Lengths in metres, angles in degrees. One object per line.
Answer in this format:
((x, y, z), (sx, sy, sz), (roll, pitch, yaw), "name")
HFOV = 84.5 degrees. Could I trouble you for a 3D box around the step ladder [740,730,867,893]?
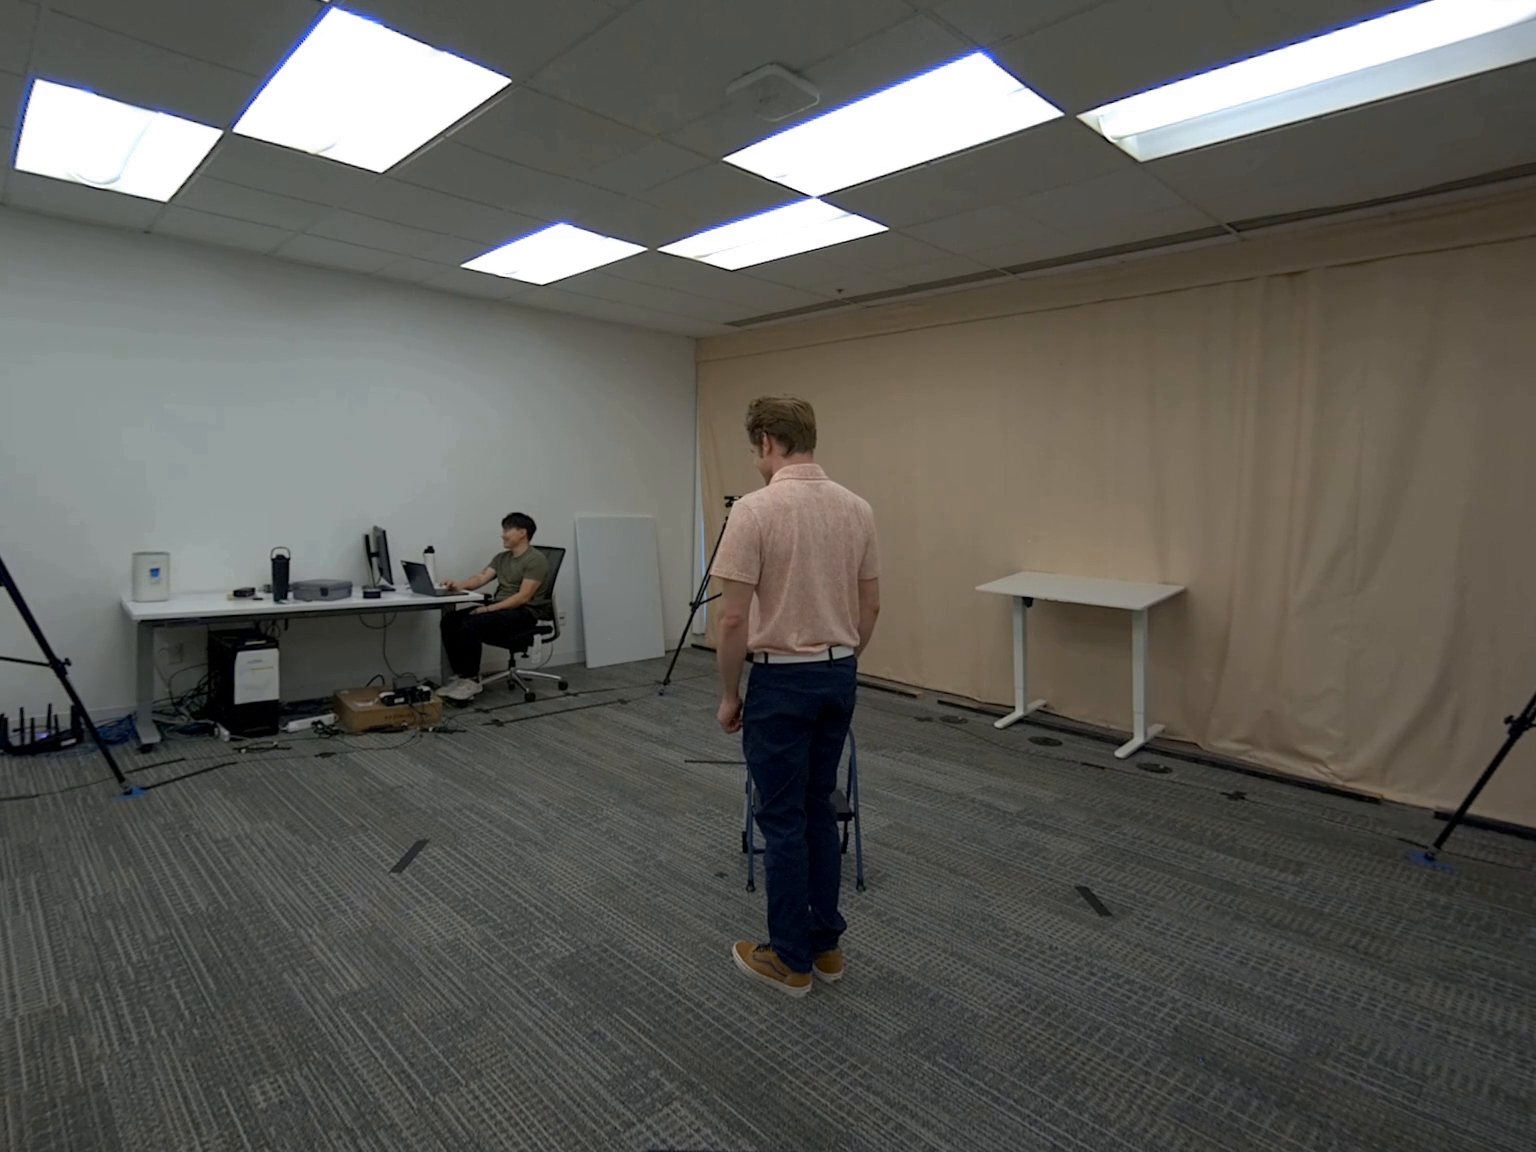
((0.126, 0.806, 3.147), (0.429, 0.605, 0.351), (2, 3, -5), "step ladder")
